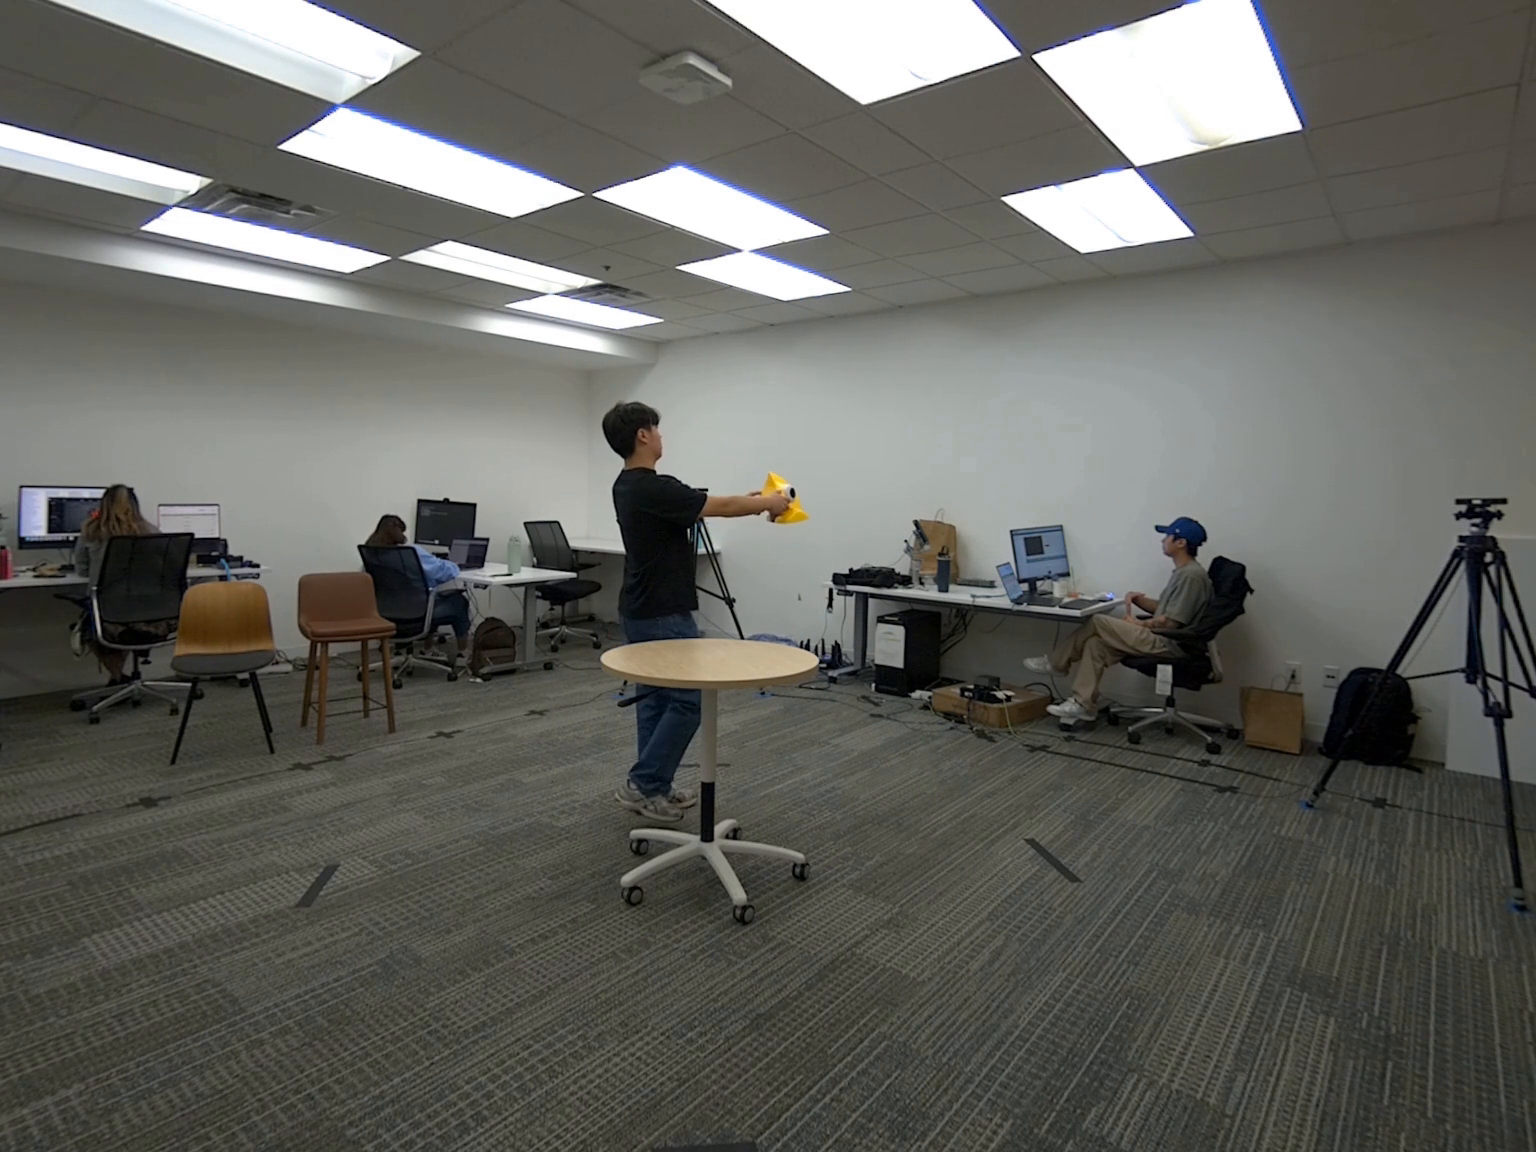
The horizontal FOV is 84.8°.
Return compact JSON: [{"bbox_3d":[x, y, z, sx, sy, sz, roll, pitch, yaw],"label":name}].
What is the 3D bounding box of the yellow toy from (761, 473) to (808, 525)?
[{"bbox_3d":[0.060,-0.374,3.880,0.189,0.228,0.211,-11,12,-25],"label":"yellow toy"}]
